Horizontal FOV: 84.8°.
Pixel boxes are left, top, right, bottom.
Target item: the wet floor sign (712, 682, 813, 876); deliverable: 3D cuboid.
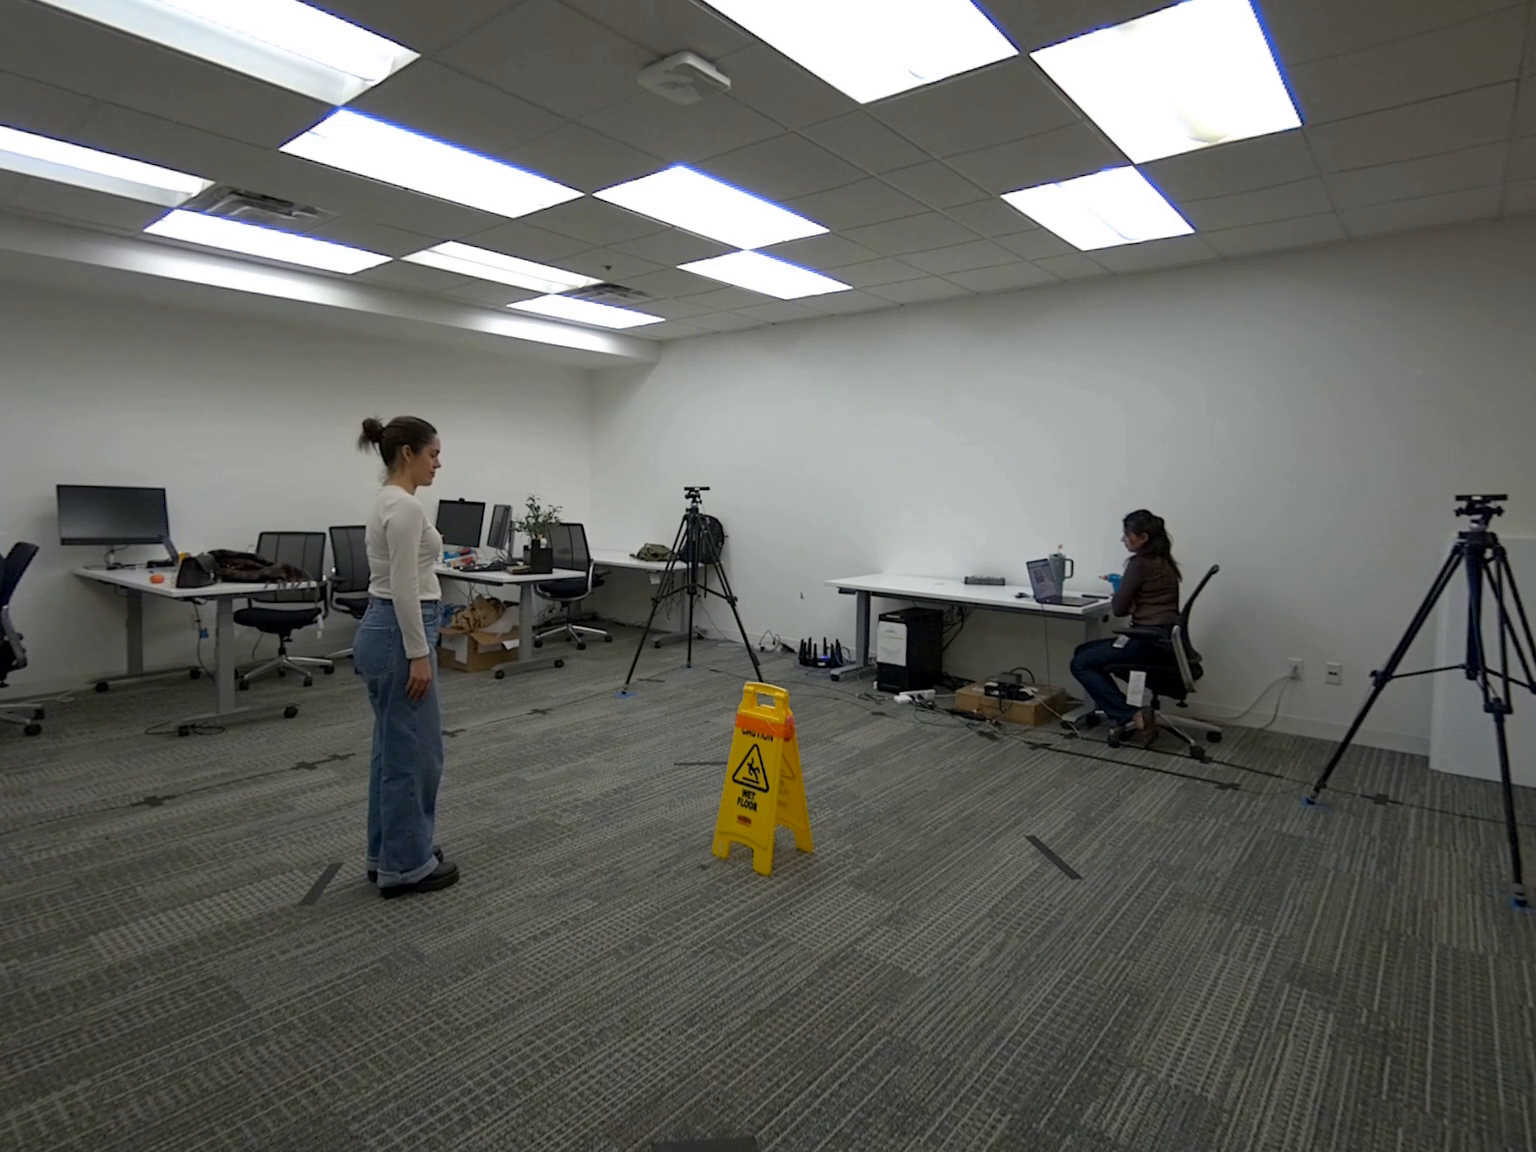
[{"bbox_3d":[-0.020,0.735,3.232,0.292,0.644,0.281,4,4,39],"label":"wet floor sign"}]
